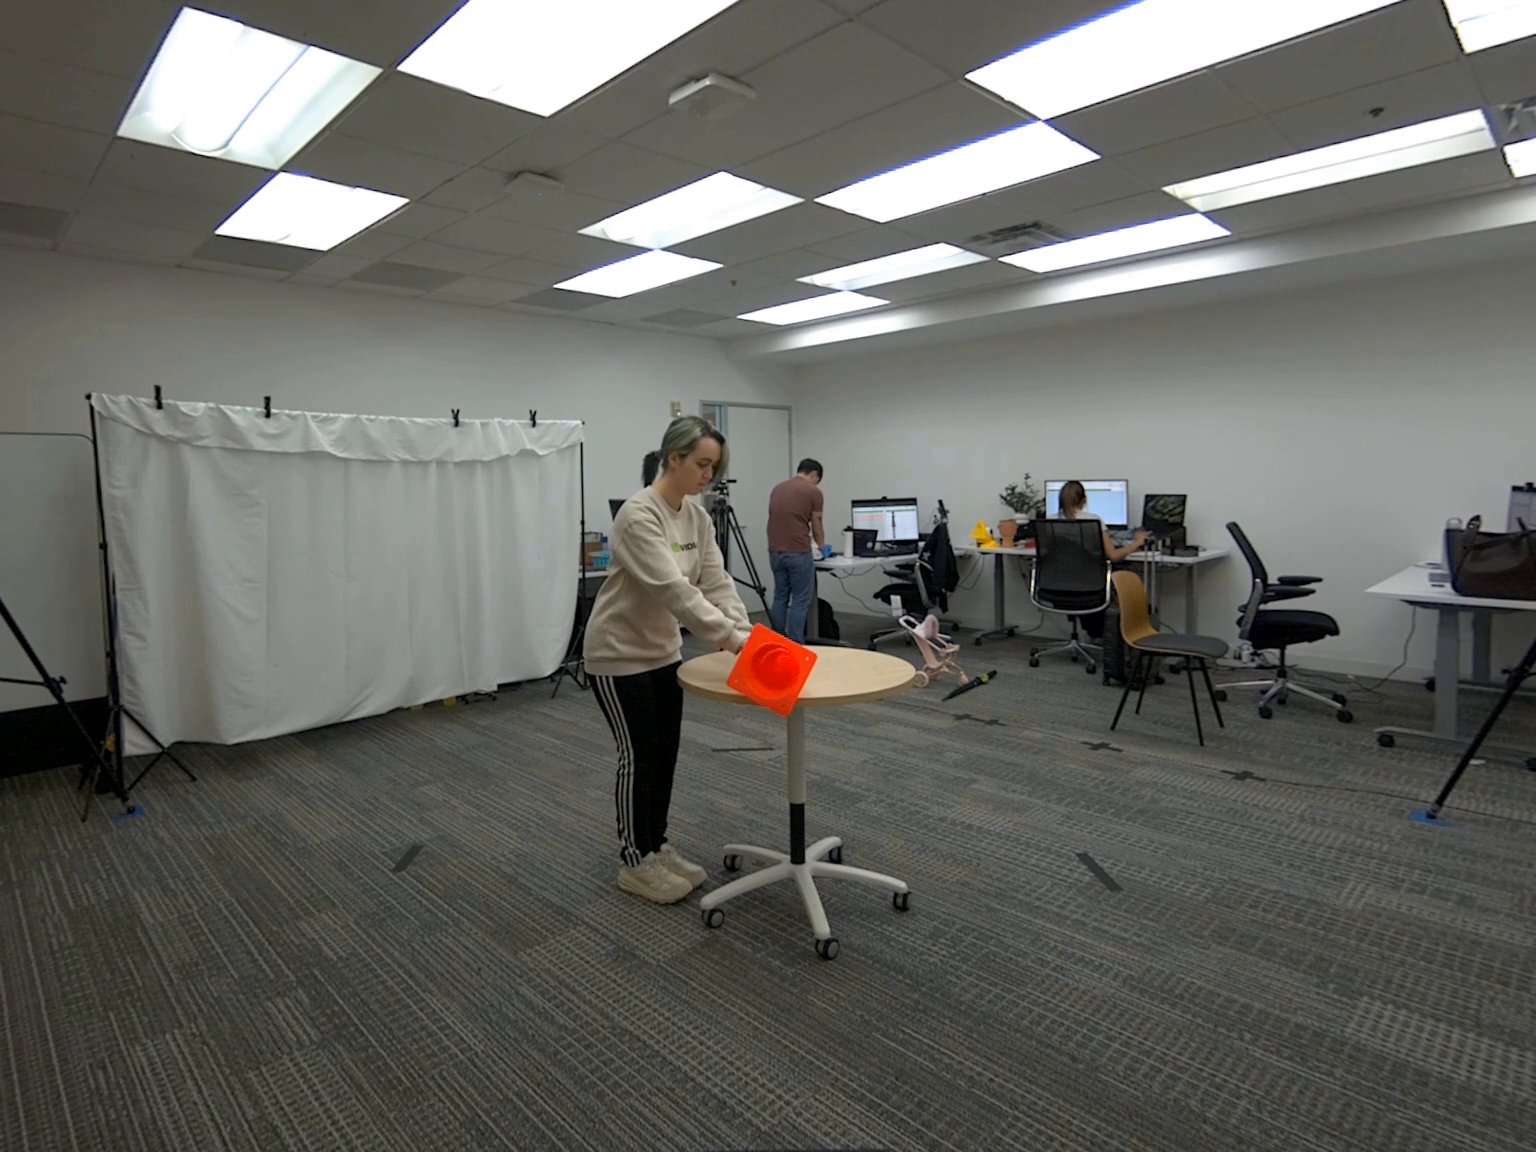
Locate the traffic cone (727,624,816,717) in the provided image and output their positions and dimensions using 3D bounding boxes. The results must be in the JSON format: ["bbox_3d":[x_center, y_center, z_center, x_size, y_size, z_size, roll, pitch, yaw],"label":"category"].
[{"bbox_3d":[0.046,0.280,2.571,0.209,0.203,0.377,26,0,12],"label":"traffic cone"}]
